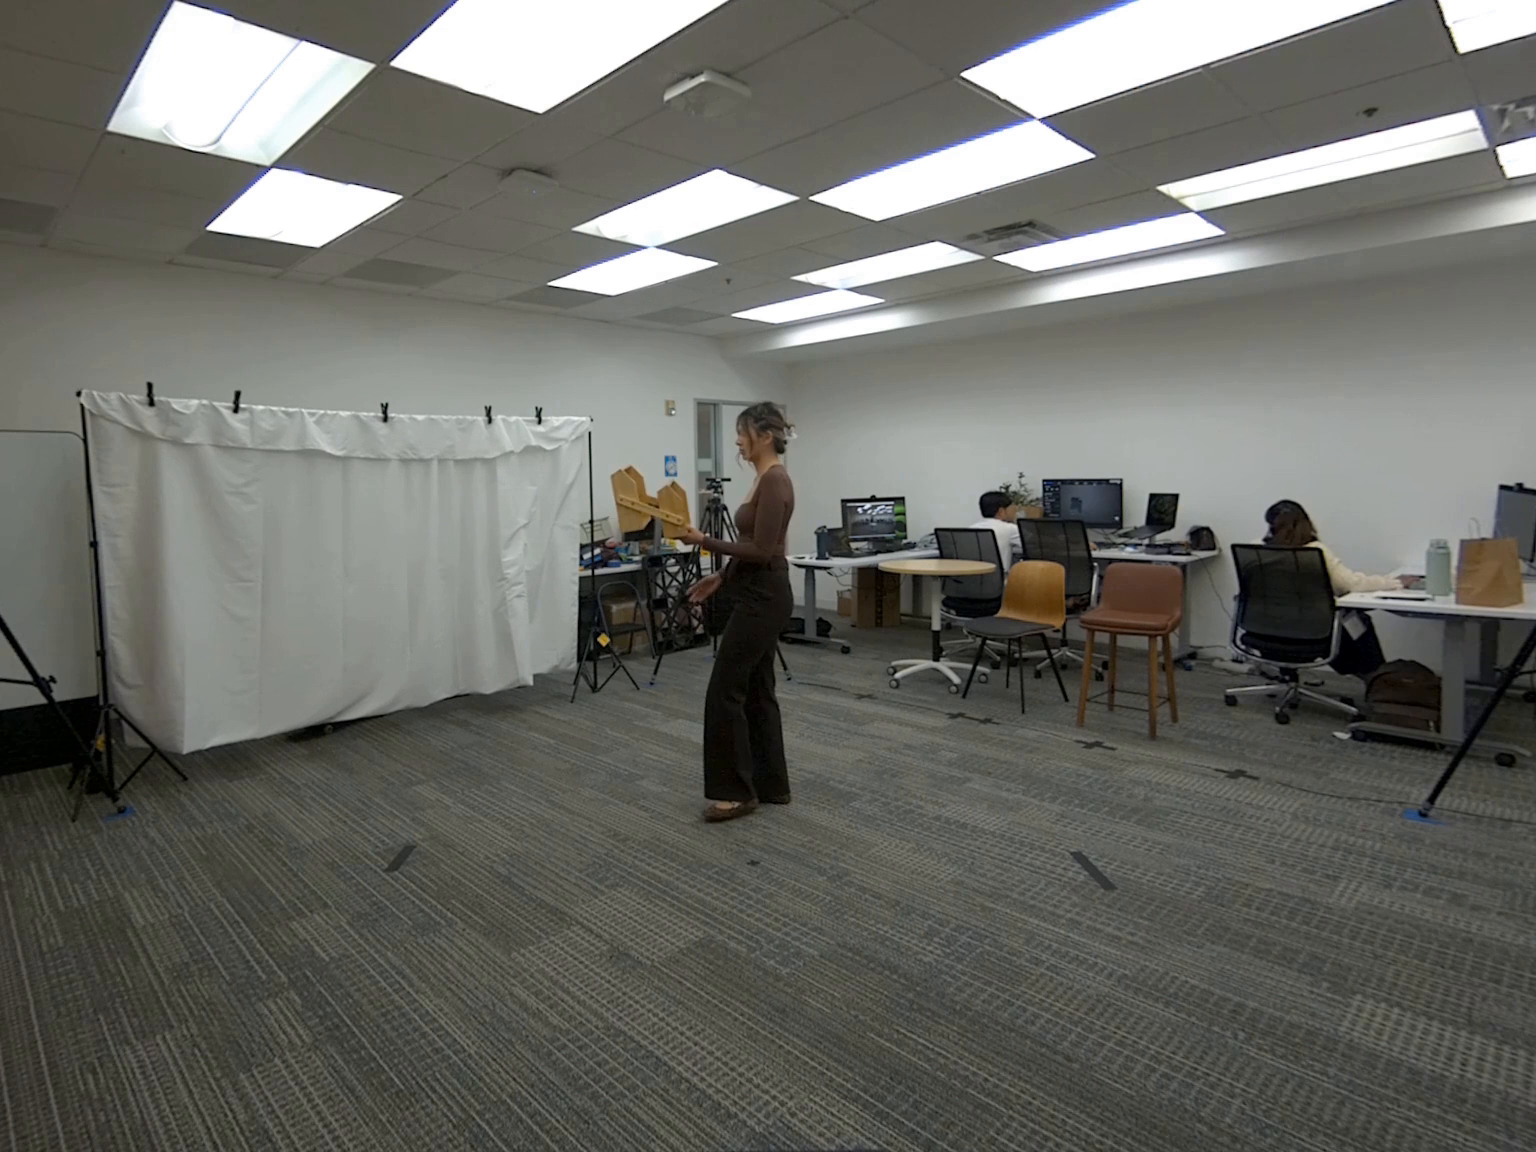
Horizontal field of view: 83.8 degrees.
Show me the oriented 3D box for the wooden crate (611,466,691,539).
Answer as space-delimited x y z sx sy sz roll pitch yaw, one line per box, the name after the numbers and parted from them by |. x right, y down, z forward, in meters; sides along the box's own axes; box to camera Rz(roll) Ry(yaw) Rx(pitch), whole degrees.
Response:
-0.469 -0.320 3.527 0.274 0.299 0.327 -8 9 1 | wooden crate
